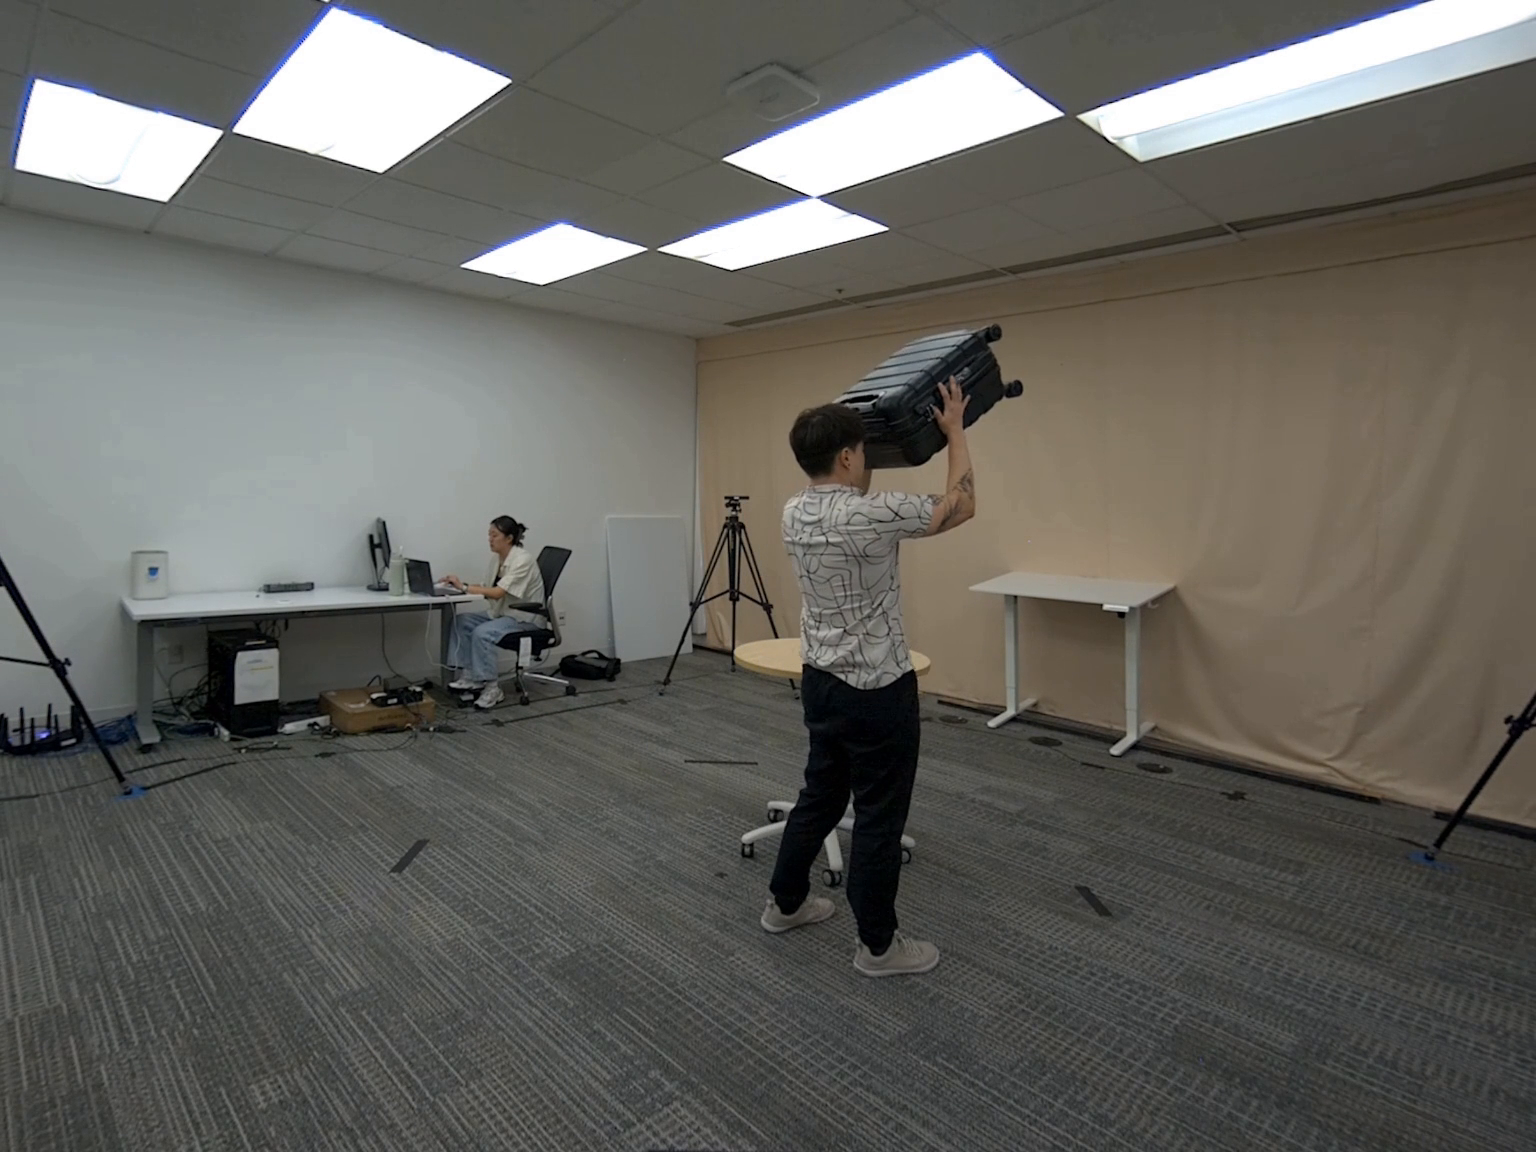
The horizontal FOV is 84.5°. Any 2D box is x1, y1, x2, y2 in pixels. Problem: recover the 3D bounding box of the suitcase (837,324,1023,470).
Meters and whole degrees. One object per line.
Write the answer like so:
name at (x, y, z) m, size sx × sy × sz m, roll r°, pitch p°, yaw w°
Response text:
suitcase at (0.483, -0.565, 2.703) m, size 0.547 × 0.243 × 0.384 m, roll -39°, pitch 24°, yaw -26°
